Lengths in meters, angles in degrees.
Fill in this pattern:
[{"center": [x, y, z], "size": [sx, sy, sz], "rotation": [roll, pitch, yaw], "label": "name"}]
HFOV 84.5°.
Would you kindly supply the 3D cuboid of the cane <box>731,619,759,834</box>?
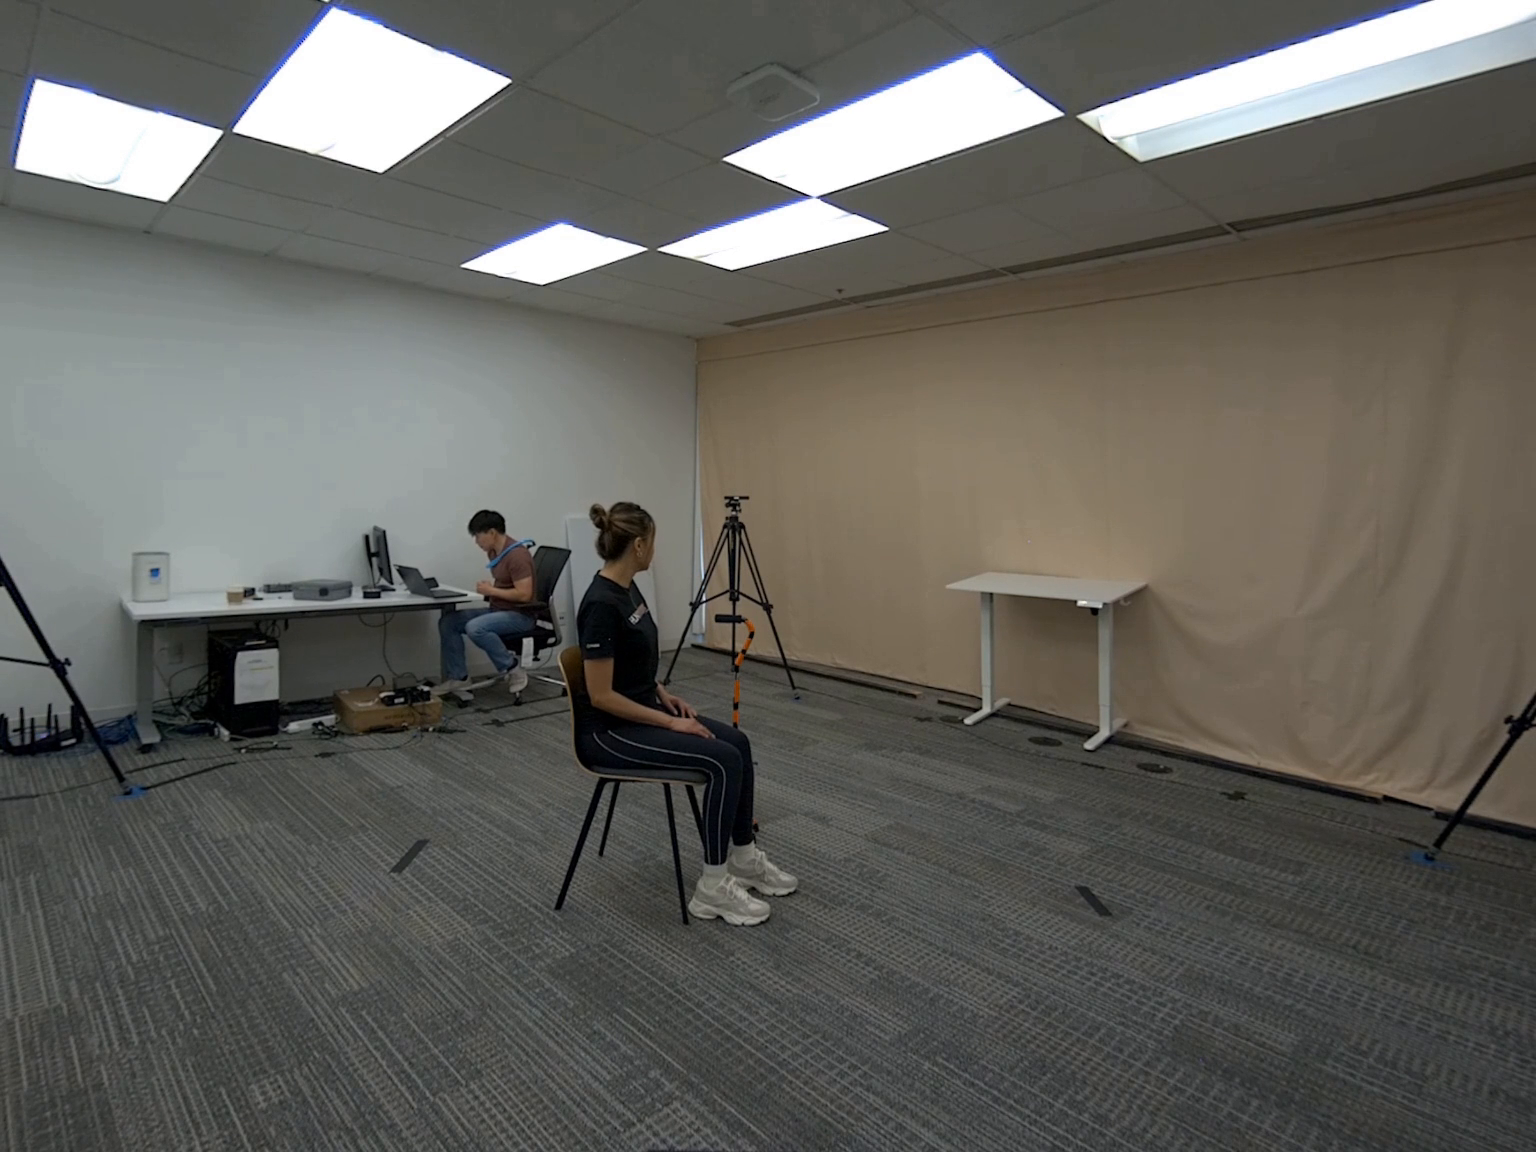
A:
[{"center": [-0.134, 0.619, 3.457], "size": [0.207, 0.905, 0.151], "rotation": [3, 3, 4], "label": "cane"}]
